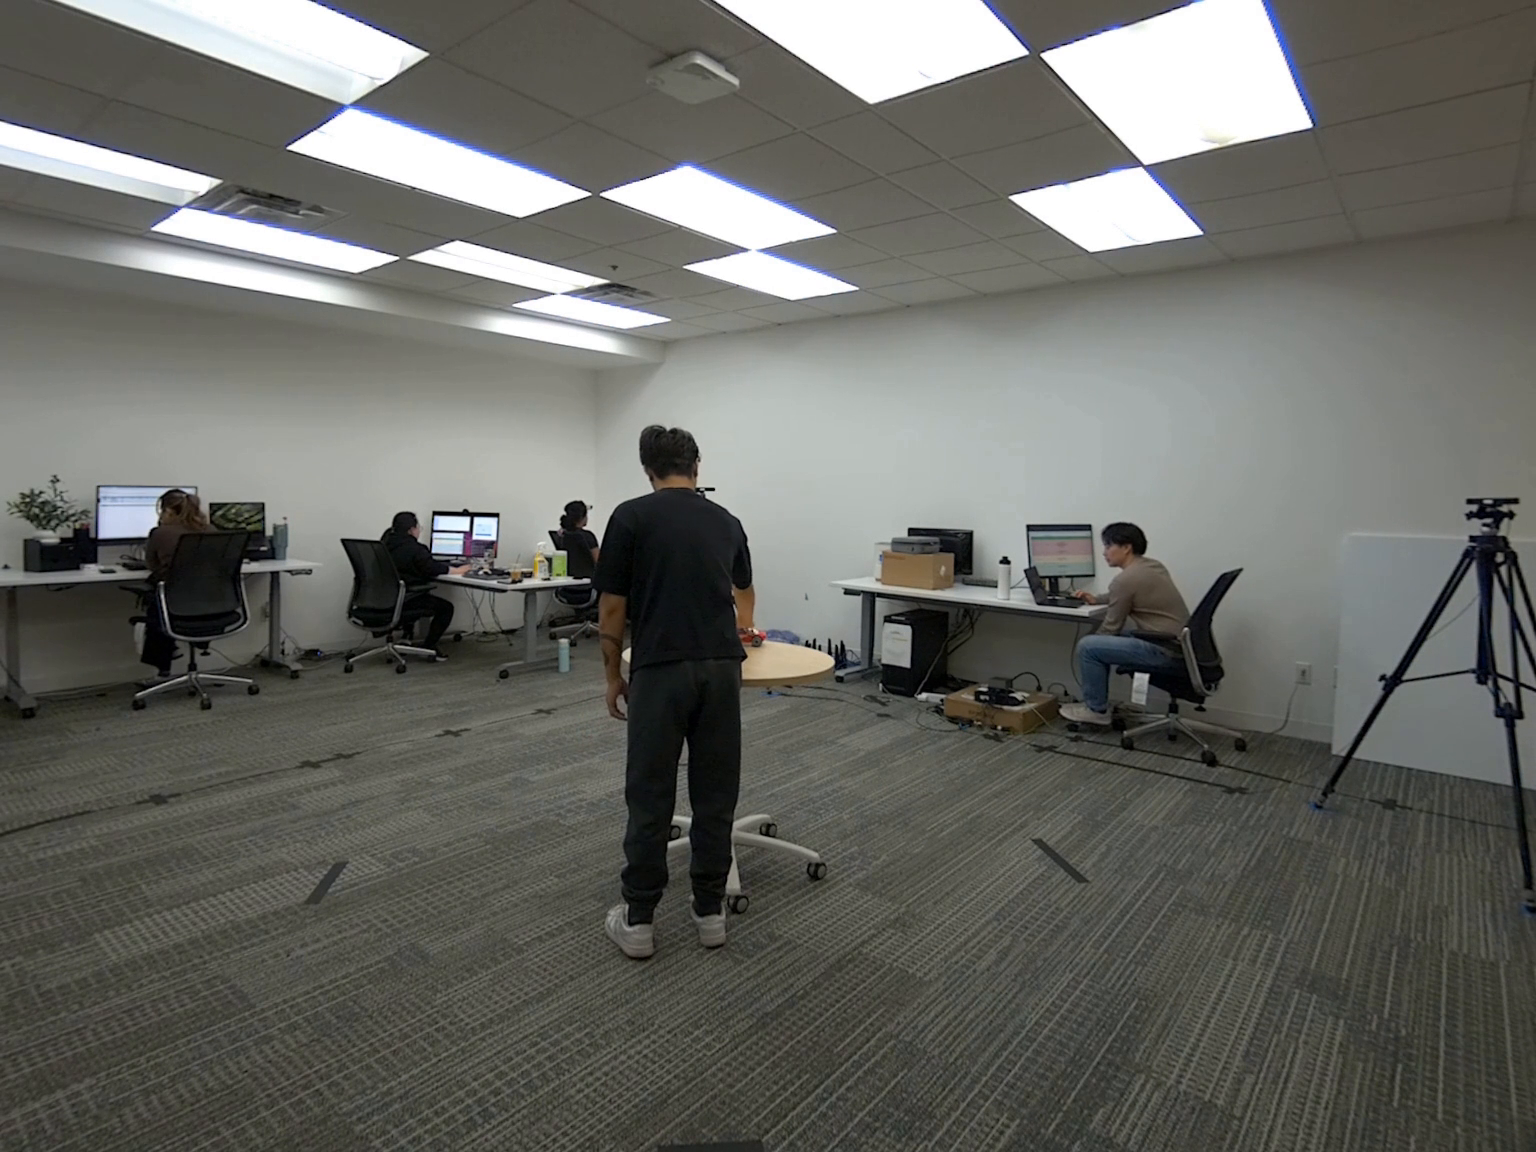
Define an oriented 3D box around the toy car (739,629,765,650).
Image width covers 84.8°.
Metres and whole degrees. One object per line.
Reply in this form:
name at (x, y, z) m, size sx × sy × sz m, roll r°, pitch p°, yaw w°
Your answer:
toy car at (-0.156, 0.232, 3.341) m, size 0.255 × 0.083 × 0.130 m, roll 14°, pitch 5°, yaw 2°
